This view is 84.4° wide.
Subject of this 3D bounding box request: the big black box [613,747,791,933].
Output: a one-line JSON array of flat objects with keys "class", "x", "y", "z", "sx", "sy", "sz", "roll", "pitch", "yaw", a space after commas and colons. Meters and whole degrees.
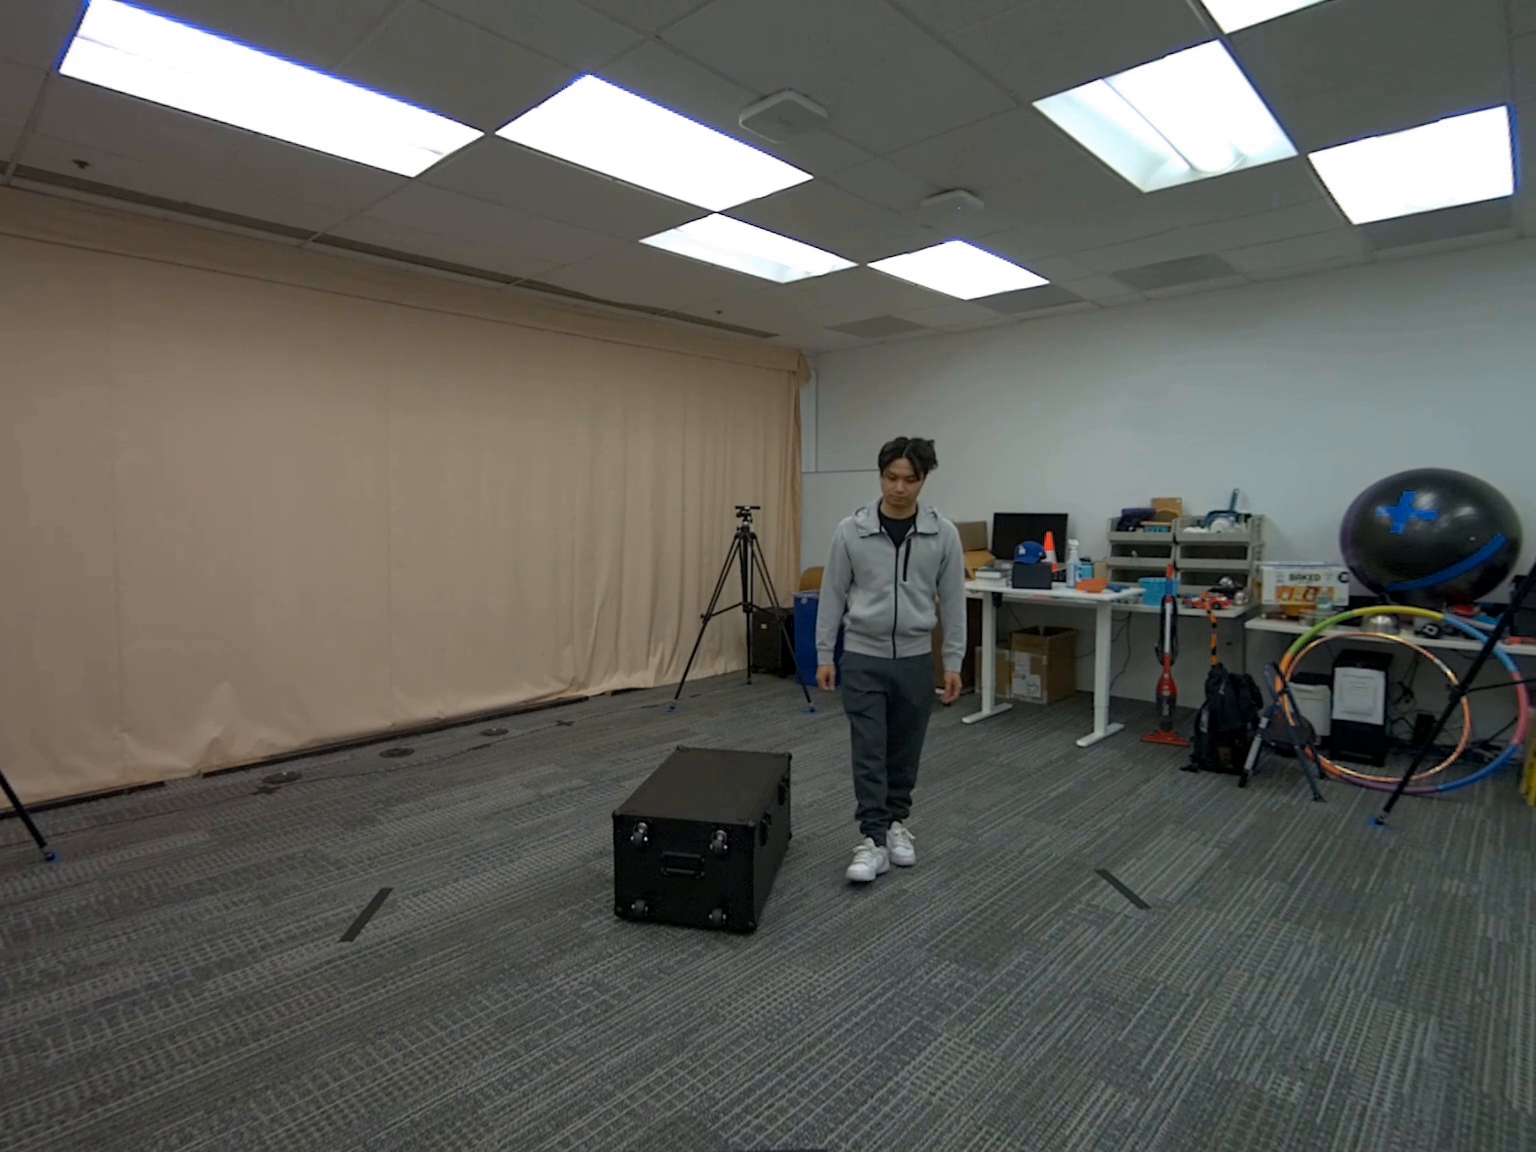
[{"class": "big black box", "x": -0.220, "y": 0.940, "z": 3.098, "sx": 0.528, "sy": 0.395, "sz": 0.852, "roll": 1, "pitch": 4, "yaw": 11}]
